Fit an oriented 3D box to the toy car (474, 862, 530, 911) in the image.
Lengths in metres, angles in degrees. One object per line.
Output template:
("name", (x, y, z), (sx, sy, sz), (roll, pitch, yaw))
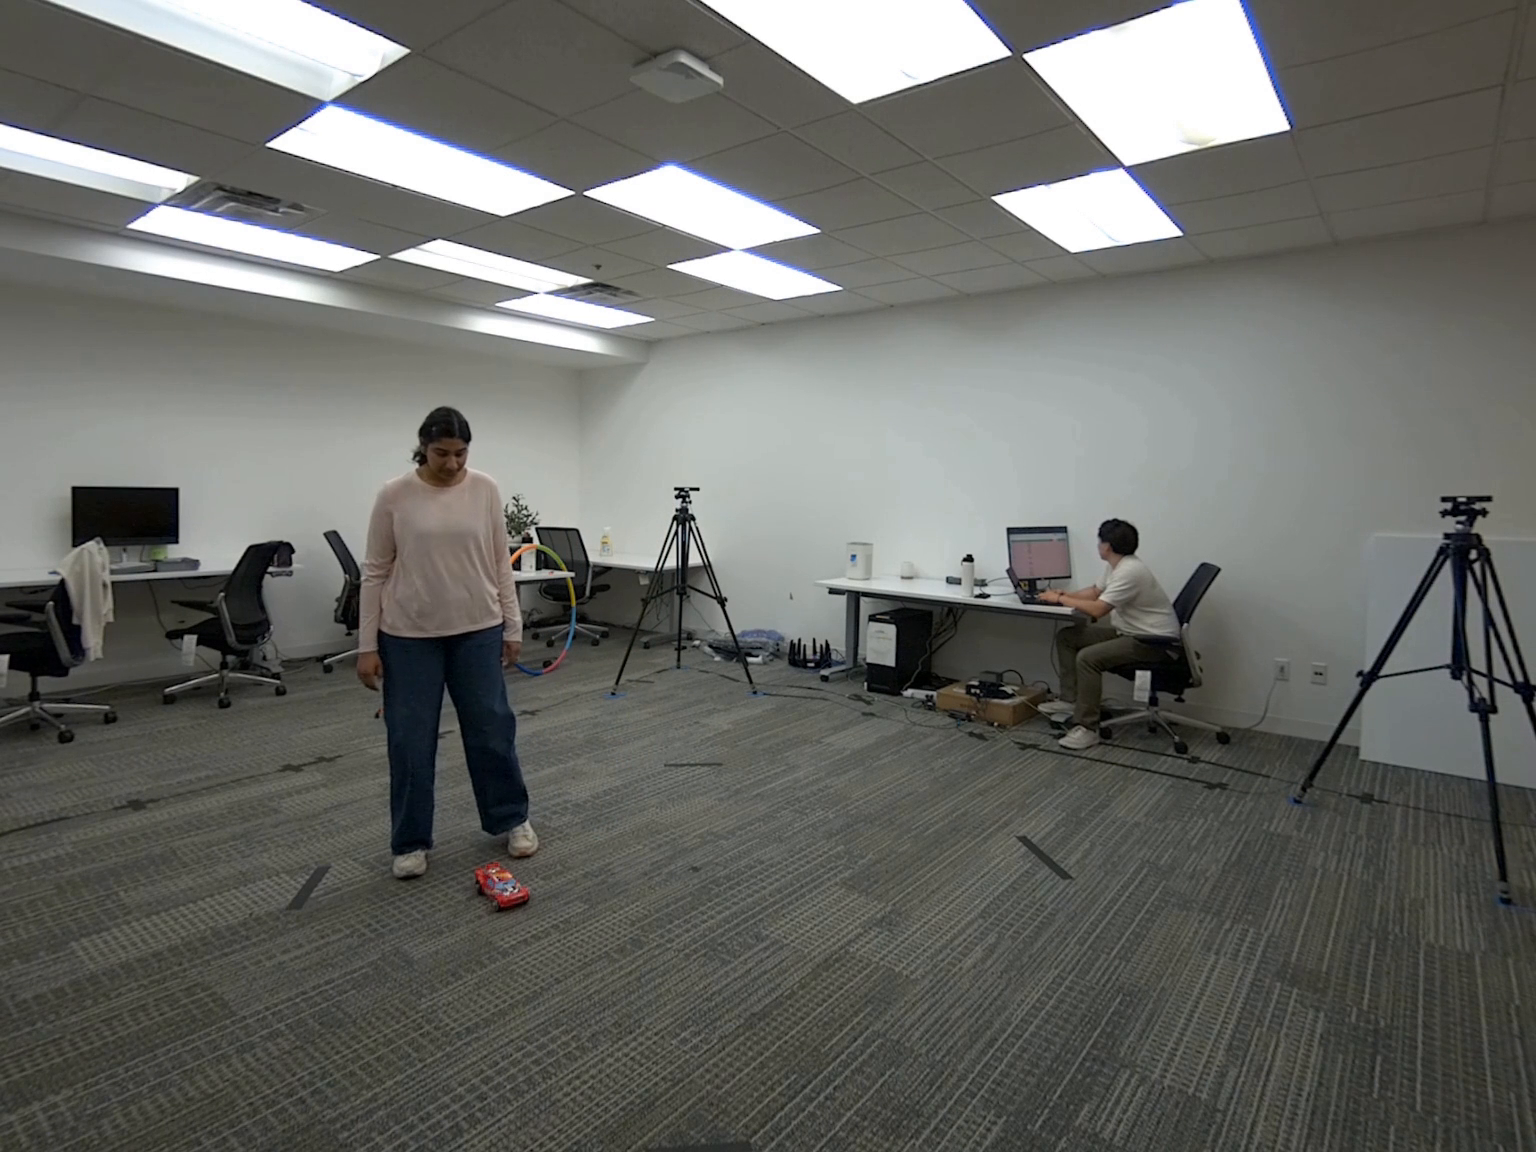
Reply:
("toy car", (-0.920, 1.050, 2.876), (0.126, 0.082, 0.265), (-3, 17, -39))
